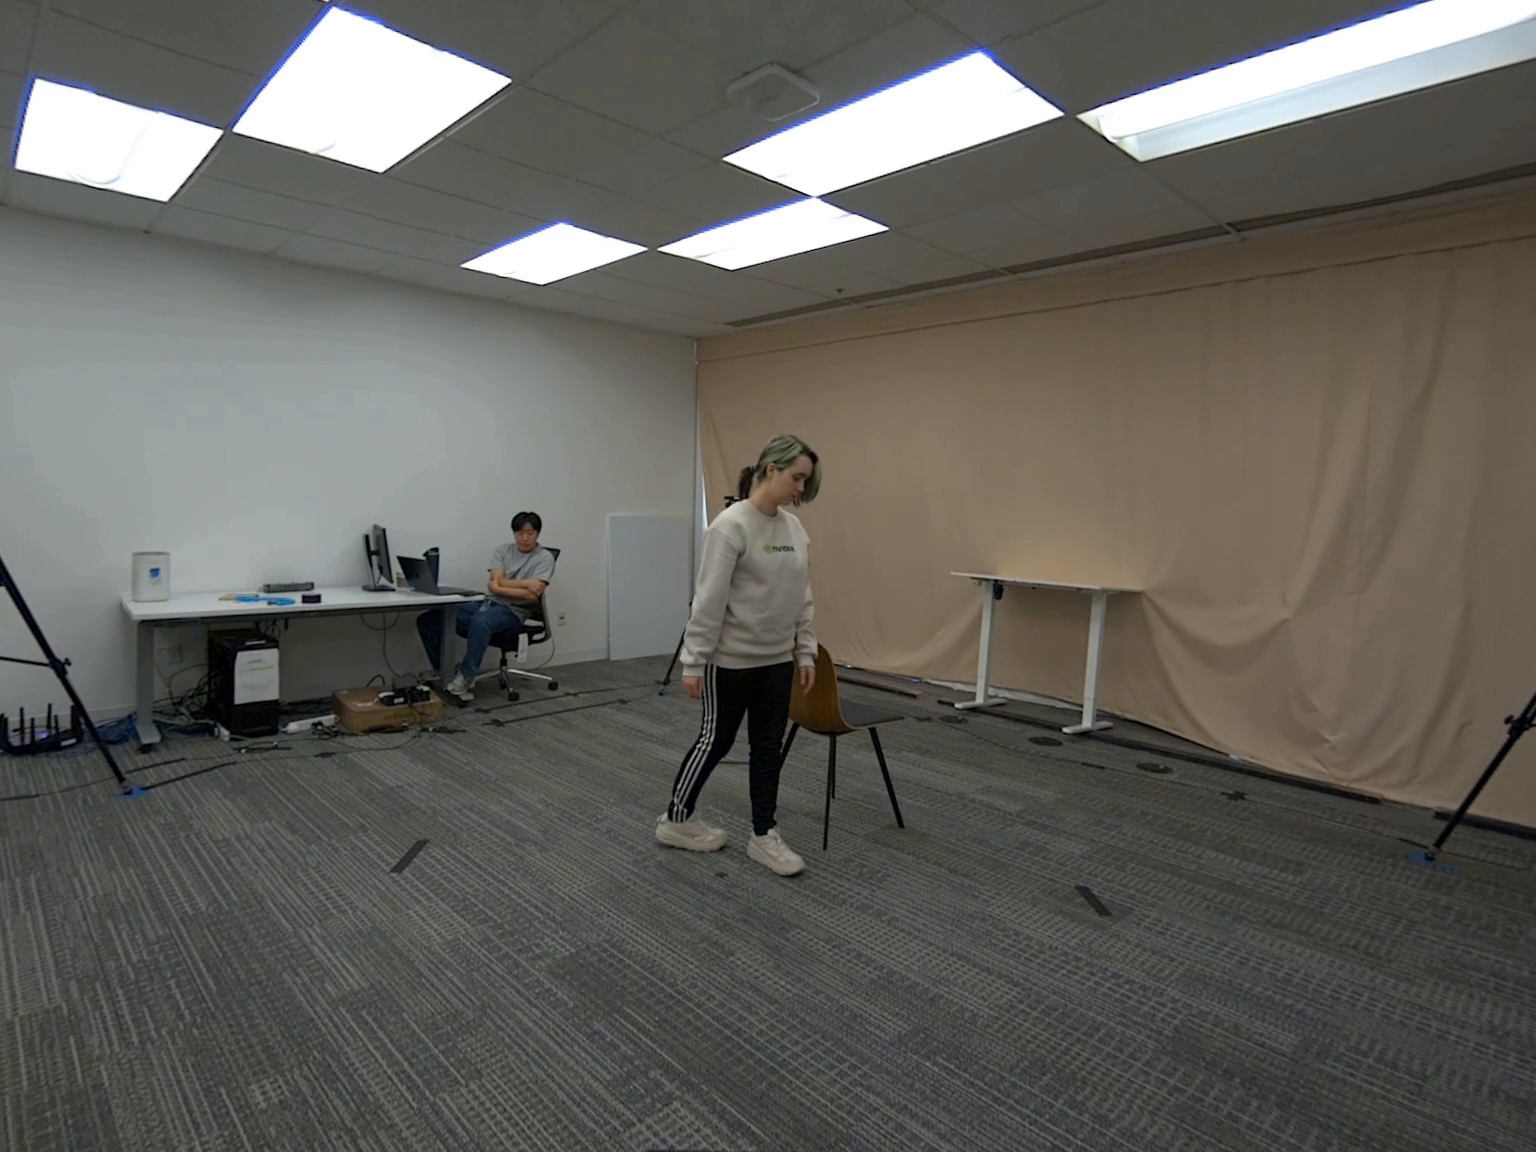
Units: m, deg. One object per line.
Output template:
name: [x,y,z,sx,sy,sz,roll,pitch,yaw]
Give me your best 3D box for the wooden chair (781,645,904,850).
wooden chair: [0.278,0.639,3.632,0.512,0.874,0.490,-6,6,-36]
